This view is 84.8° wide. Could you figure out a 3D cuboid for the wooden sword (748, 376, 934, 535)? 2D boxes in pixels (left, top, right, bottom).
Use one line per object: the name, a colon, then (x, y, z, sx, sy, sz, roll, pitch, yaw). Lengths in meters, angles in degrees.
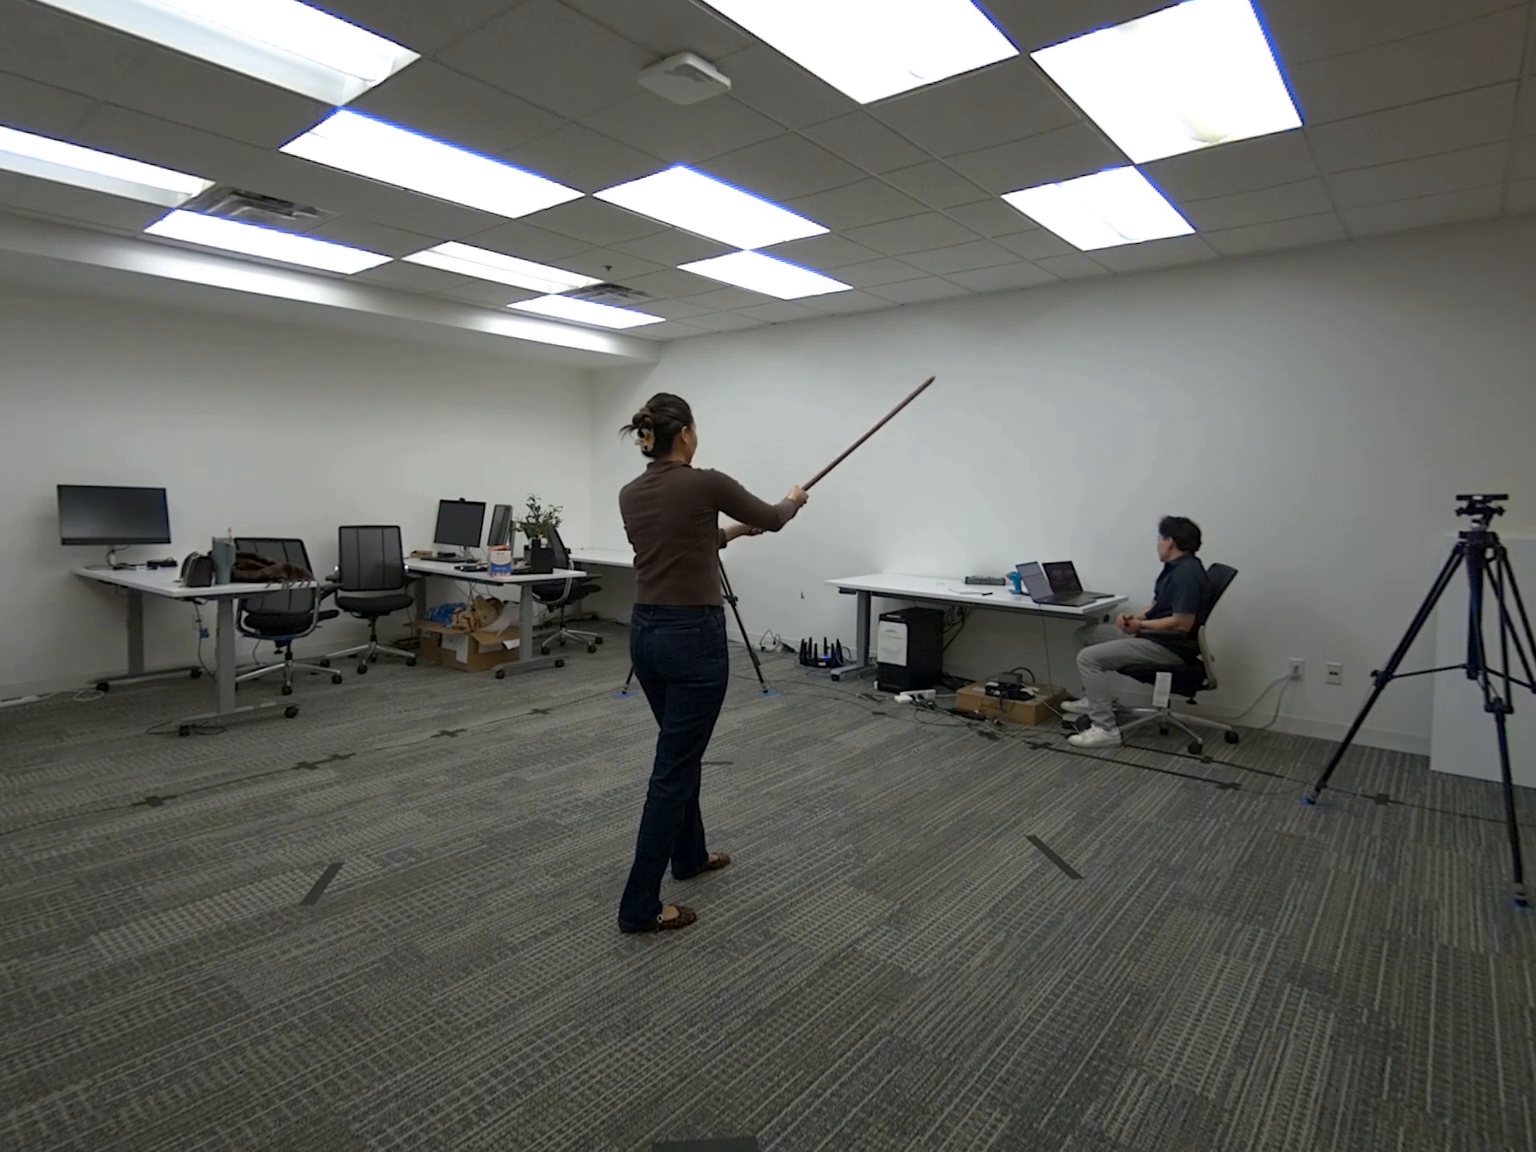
wooden sword: (0.288, -0.470, 3.252, 1.022, 0.052, 0.024, -42, -5, -17)
